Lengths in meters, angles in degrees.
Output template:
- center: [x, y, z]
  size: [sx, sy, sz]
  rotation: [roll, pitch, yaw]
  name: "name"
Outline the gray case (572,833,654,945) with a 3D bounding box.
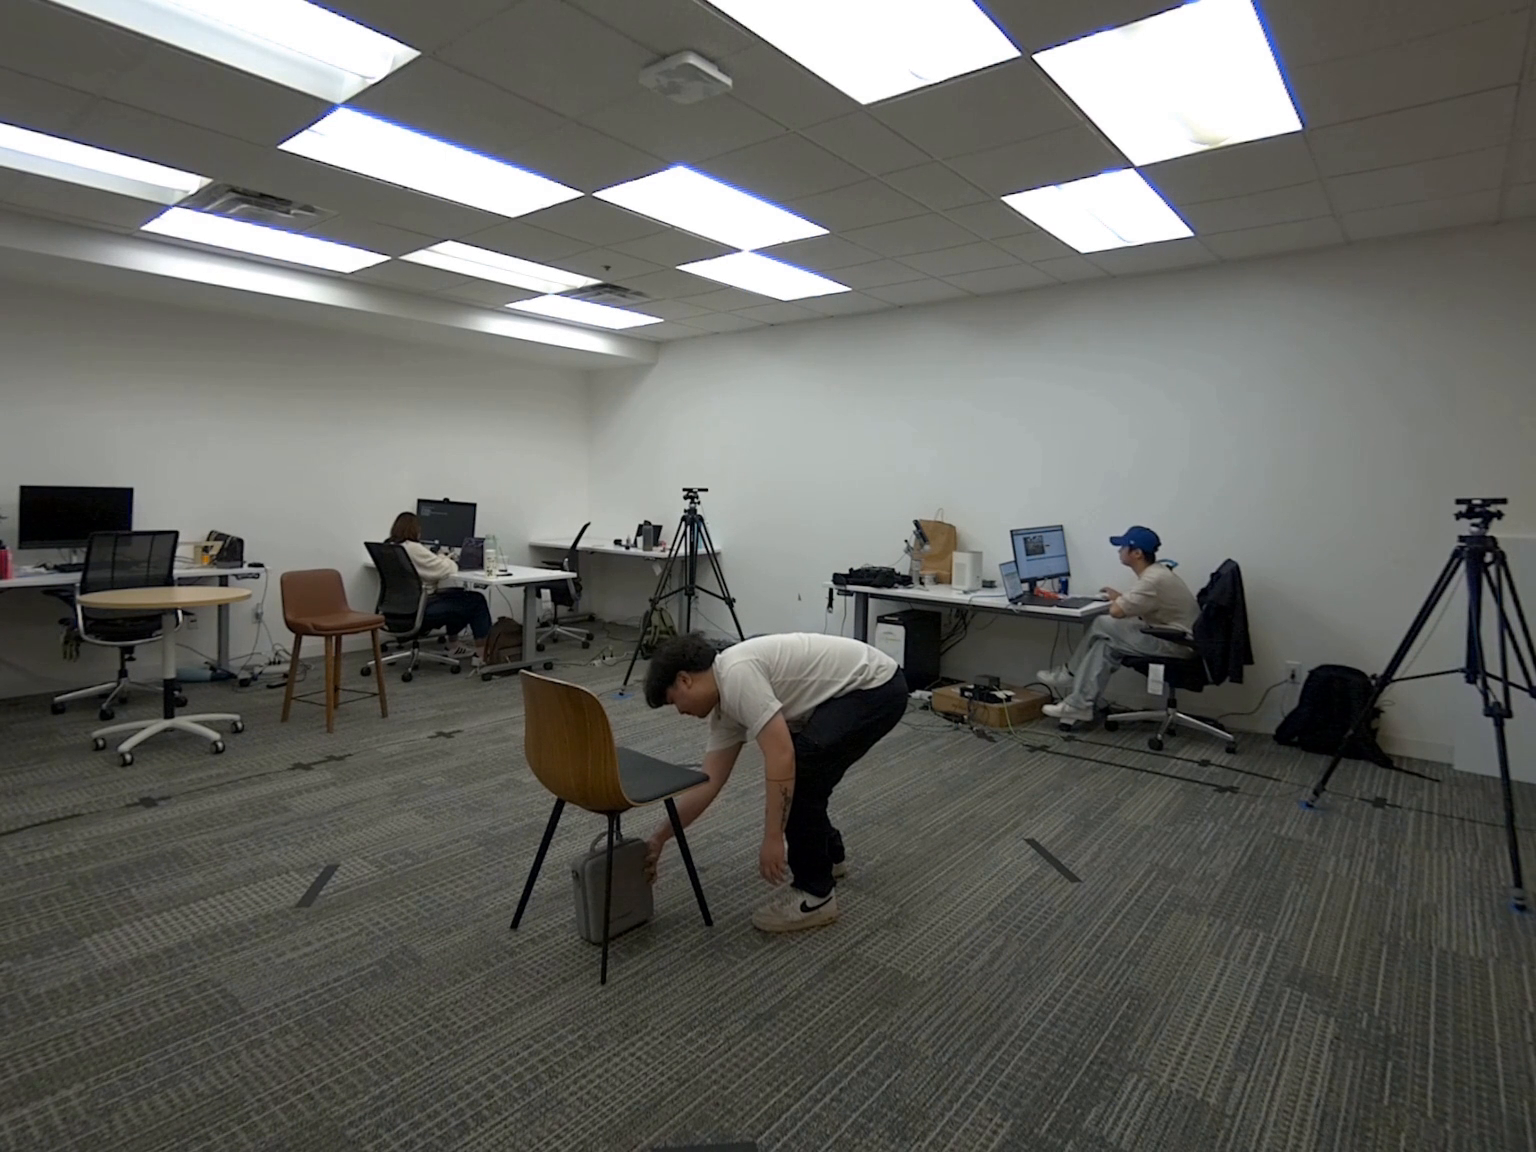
- center: [-0.497, 0.976, 2.677]
  size: [0.107, 0.261, 0.249]
  rotation: [-9, -4, 43]
  name: "gray case"
